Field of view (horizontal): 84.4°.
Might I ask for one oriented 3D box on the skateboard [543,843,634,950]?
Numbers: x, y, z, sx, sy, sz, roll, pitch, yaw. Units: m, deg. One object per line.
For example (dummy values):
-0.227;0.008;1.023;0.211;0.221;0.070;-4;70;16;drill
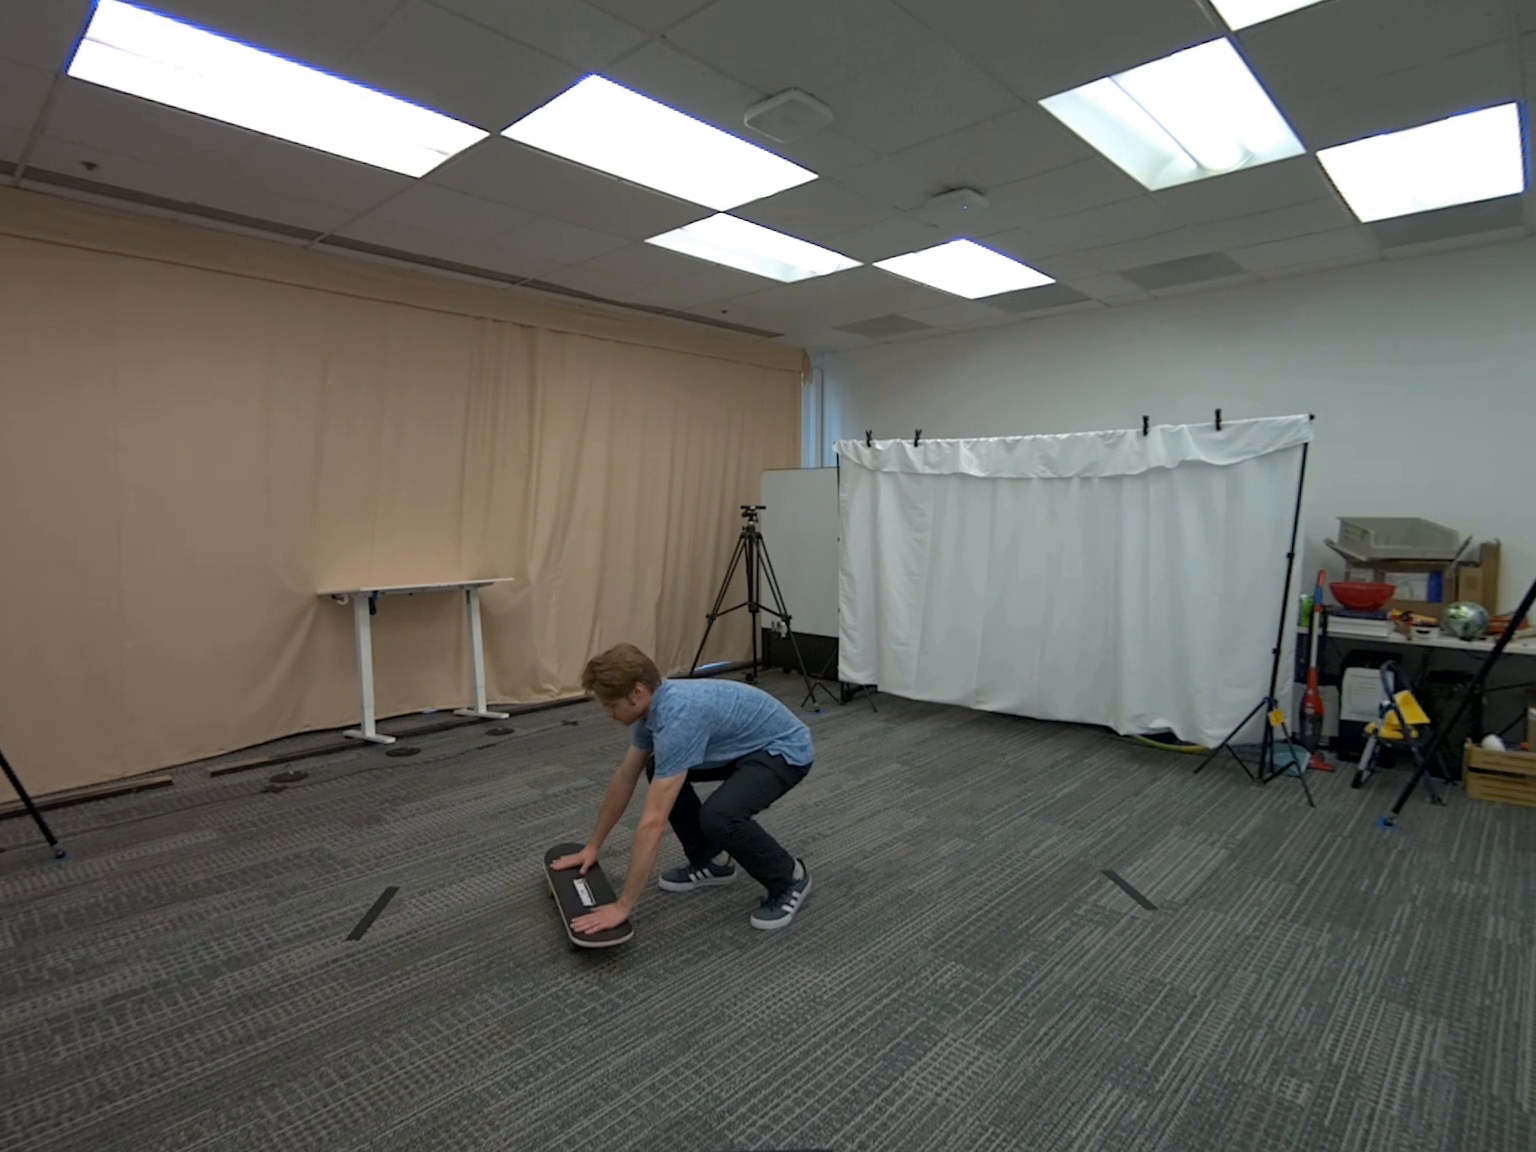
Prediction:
-0.618;1.102;2.855;0.189;0.110;0.804;-4;6;-22;skateboard
